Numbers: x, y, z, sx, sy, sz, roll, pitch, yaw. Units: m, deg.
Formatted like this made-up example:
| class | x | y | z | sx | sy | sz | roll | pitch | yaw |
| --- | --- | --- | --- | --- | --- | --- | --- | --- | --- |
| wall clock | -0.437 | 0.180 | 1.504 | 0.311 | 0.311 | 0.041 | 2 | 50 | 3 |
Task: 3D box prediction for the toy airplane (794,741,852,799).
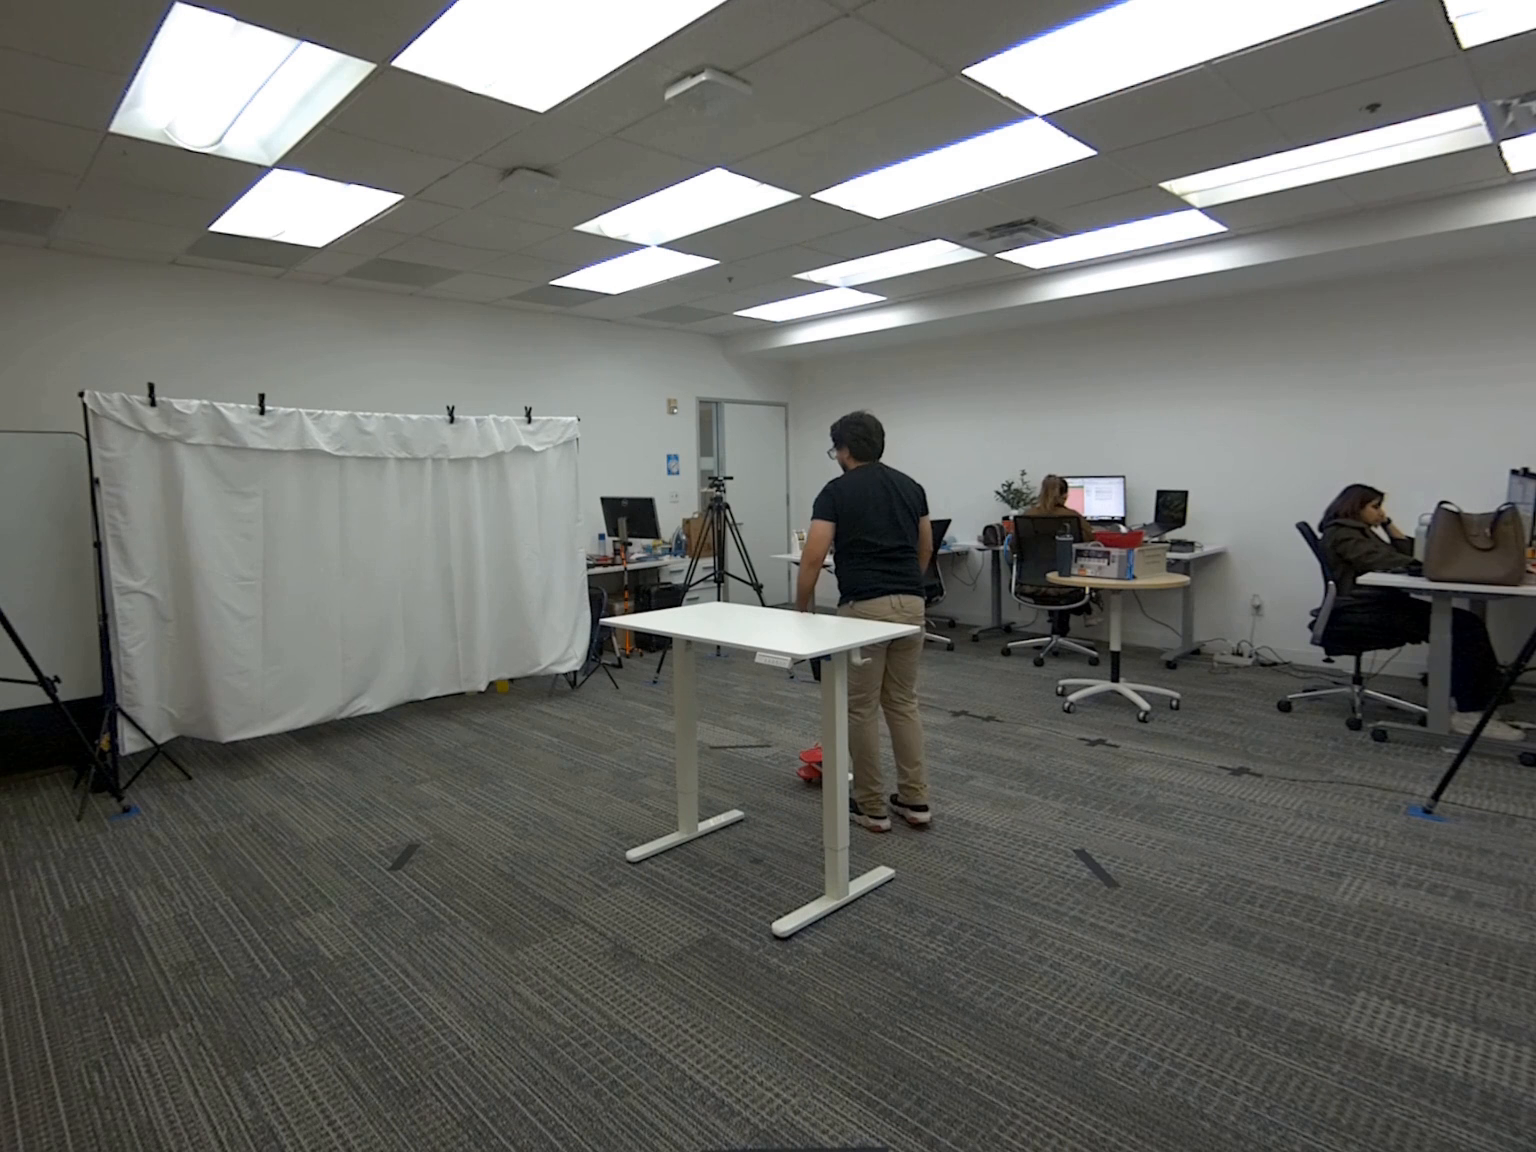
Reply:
| class | x | y | z | sx | sy | sz | roll | pitch | yaw |
| --- | --- | --- | --- | --- | --- | --- | --- | --- | --- |
| toy airplane | 0.285 | 0.870 | 3.874 | 0.265 | 0.156 | 0.247 | 0 | 6 | 24 |
